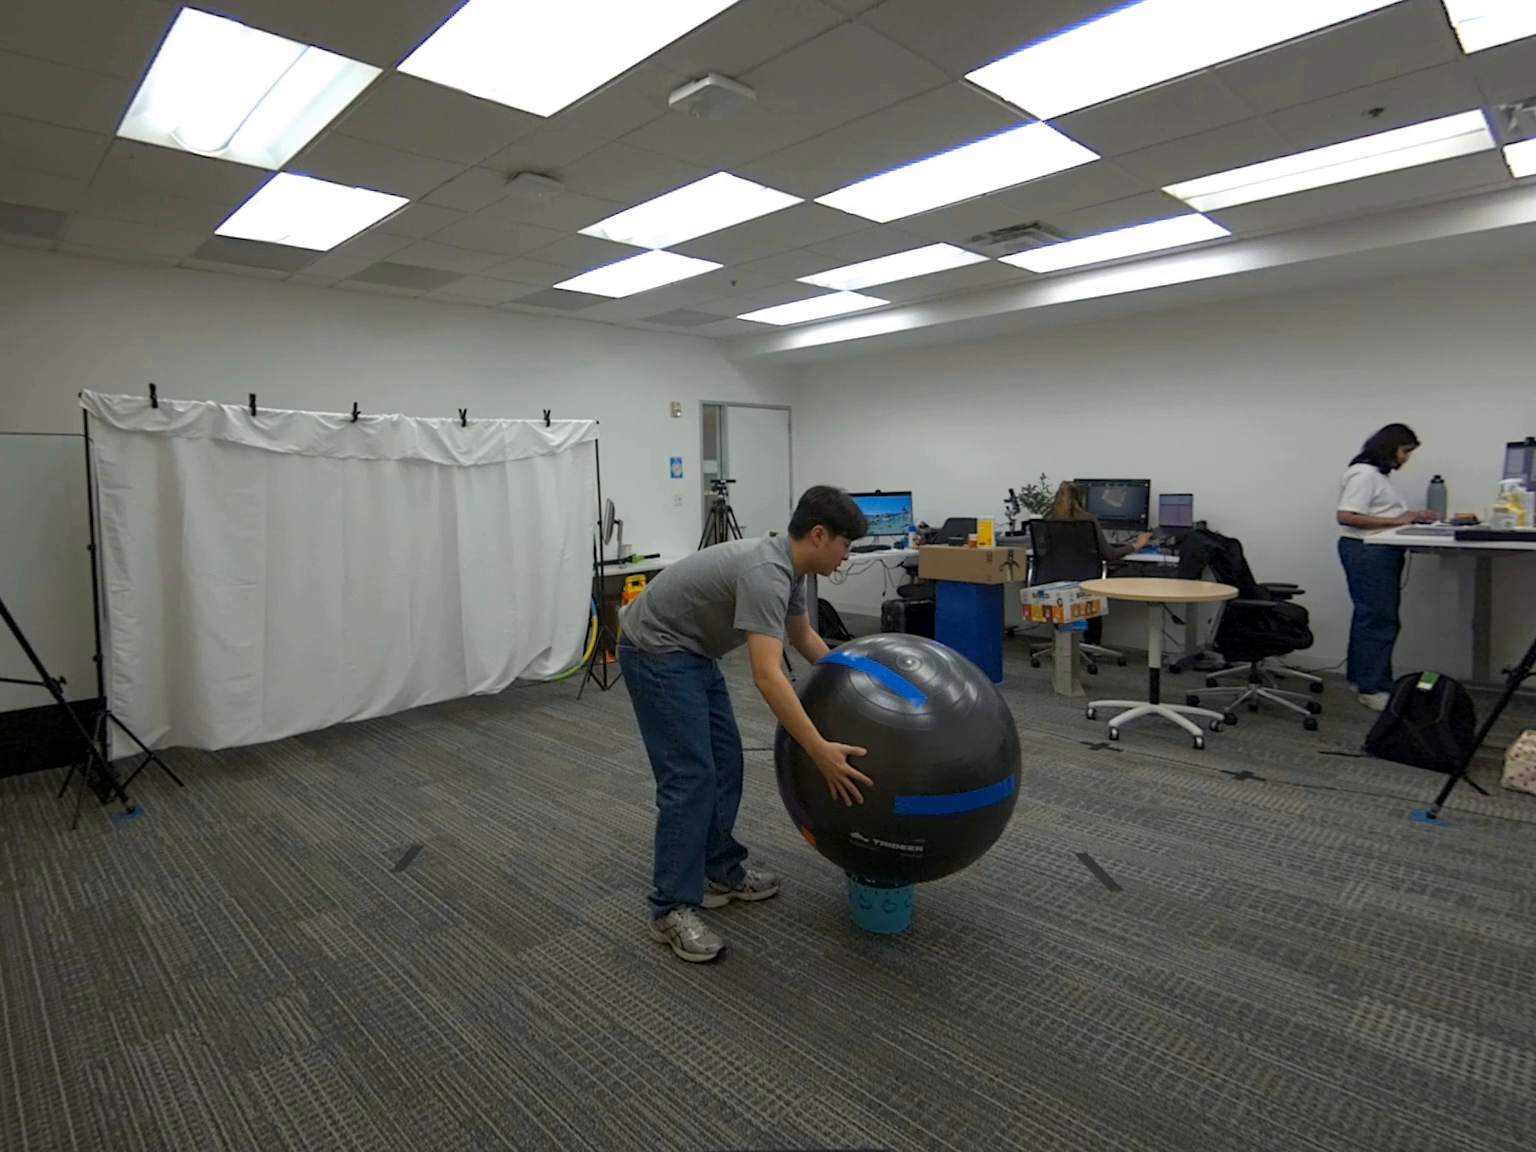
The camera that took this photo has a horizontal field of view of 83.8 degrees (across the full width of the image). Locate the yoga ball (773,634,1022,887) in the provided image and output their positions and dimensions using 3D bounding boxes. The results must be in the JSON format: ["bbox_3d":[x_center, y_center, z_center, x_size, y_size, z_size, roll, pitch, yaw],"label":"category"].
[{"bbox_3d":[0.408,0.563,2.674,0.757,0.755,0.762,-1,5,-2],"label":"yoga ball"}]
